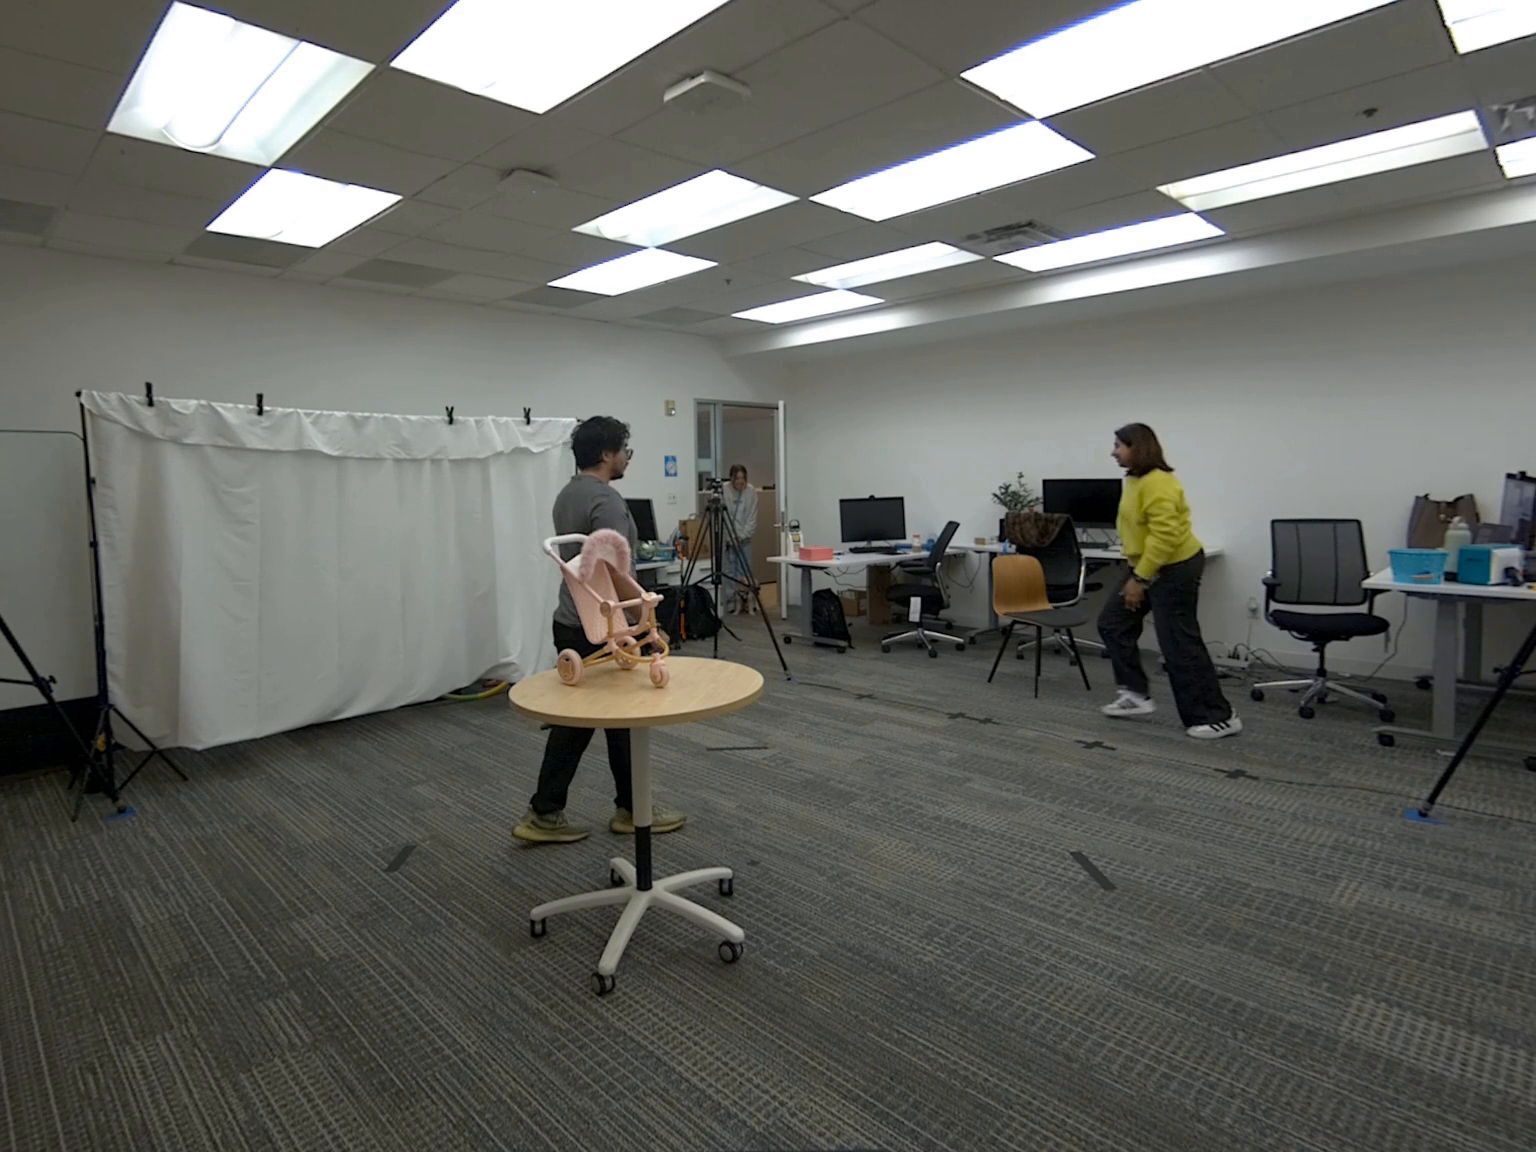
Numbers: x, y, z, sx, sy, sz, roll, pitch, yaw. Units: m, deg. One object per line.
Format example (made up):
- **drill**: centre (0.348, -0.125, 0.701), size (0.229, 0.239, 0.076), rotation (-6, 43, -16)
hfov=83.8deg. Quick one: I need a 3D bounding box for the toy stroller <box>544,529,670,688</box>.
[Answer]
- **toy stroller**: centre (-0.482, 0.099, 2.638), size (0.348, 0.539, 0.274), rotation (-17, -7, 41)
